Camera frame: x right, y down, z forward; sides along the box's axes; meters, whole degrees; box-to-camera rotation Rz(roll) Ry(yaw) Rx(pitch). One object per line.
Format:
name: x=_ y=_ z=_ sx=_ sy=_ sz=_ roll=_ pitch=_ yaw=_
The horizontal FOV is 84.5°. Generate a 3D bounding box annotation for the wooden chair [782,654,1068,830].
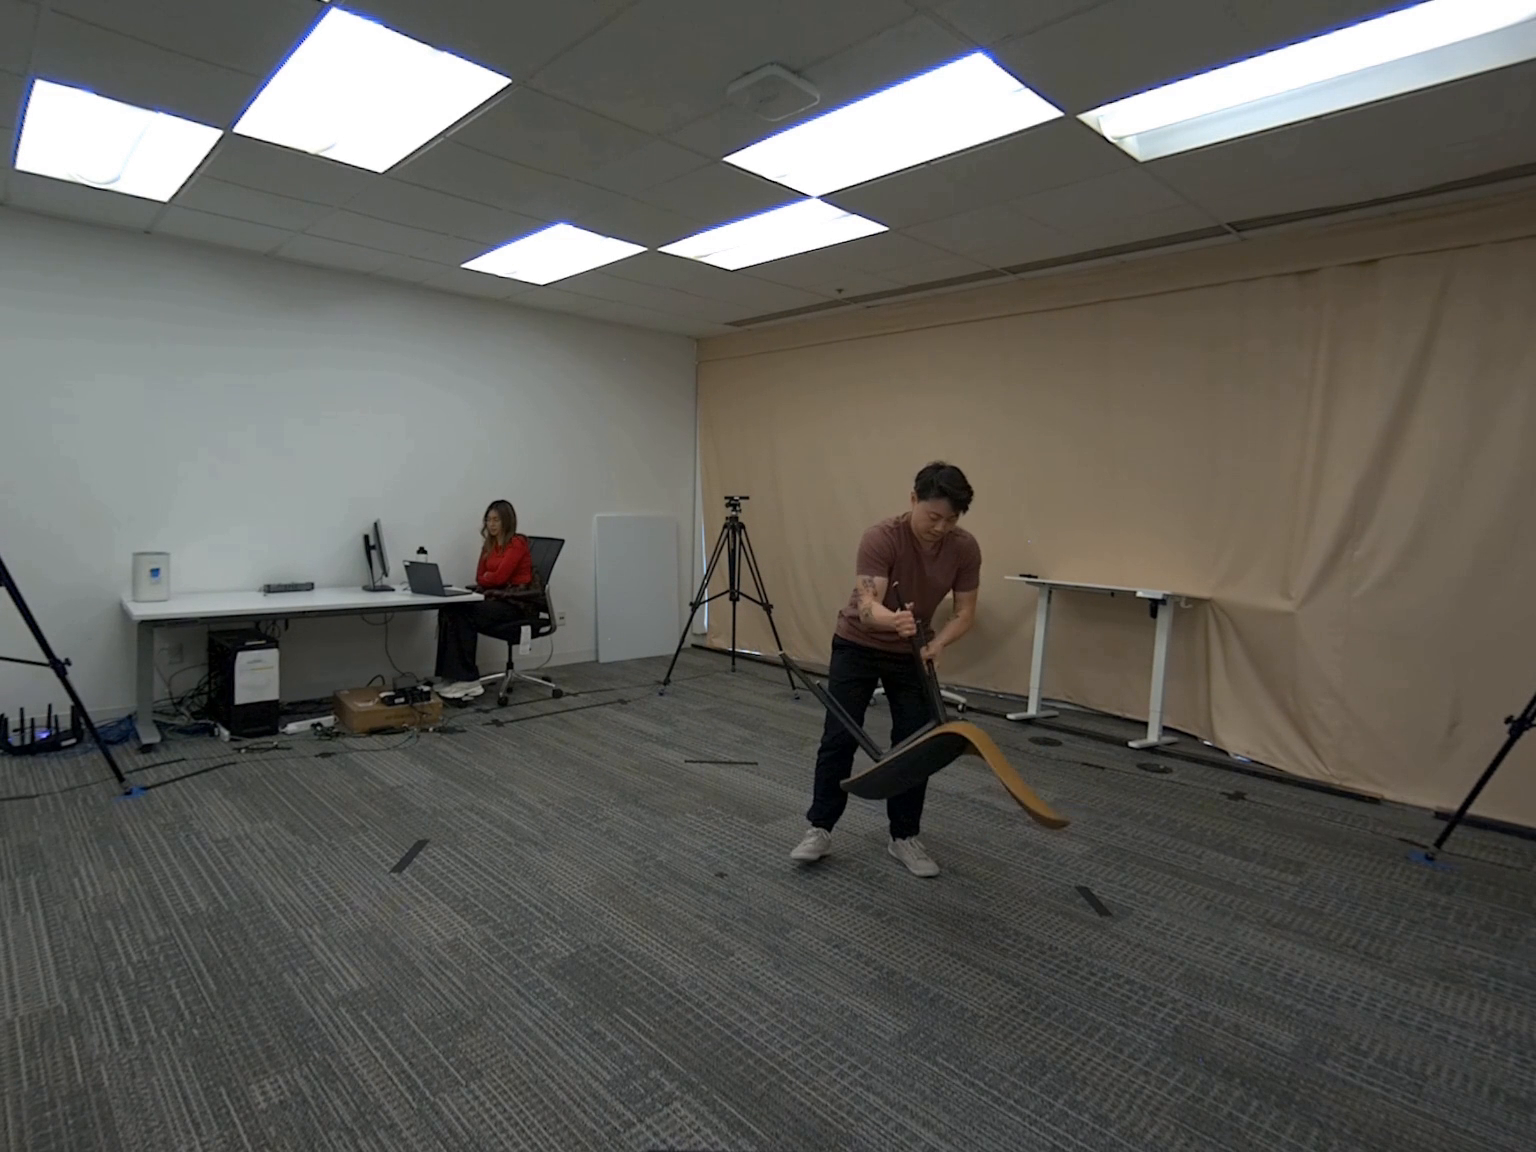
wooden chair: x=0.468 y=0.558 z=2.732 sx=0.523 sy=0.901 sz=0.465 roll=-35 pitch=-29 yaw=5
